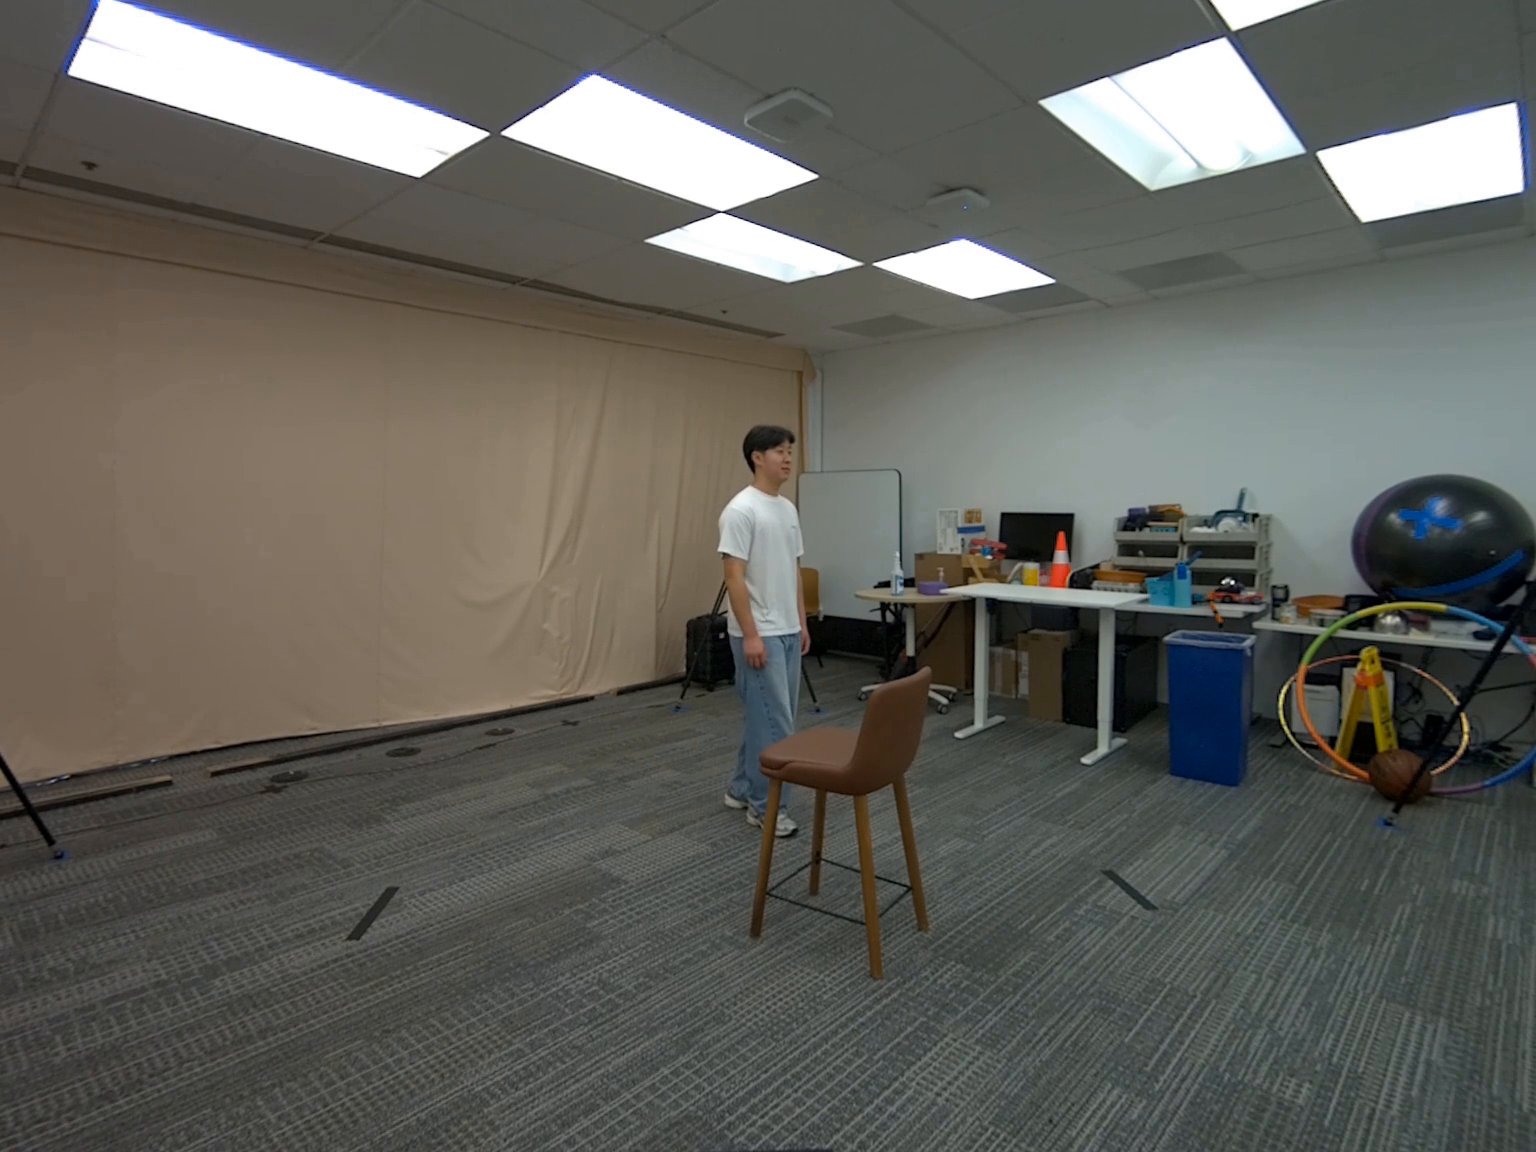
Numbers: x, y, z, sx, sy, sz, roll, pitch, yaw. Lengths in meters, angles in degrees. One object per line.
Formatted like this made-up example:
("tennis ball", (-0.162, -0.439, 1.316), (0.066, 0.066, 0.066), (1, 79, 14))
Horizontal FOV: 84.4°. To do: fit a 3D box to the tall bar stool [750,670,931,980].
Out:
("tall bar stool", (0.246, 0.727, 2.728), (0.483, 0.887, 0.443), (4, 5, 35))
